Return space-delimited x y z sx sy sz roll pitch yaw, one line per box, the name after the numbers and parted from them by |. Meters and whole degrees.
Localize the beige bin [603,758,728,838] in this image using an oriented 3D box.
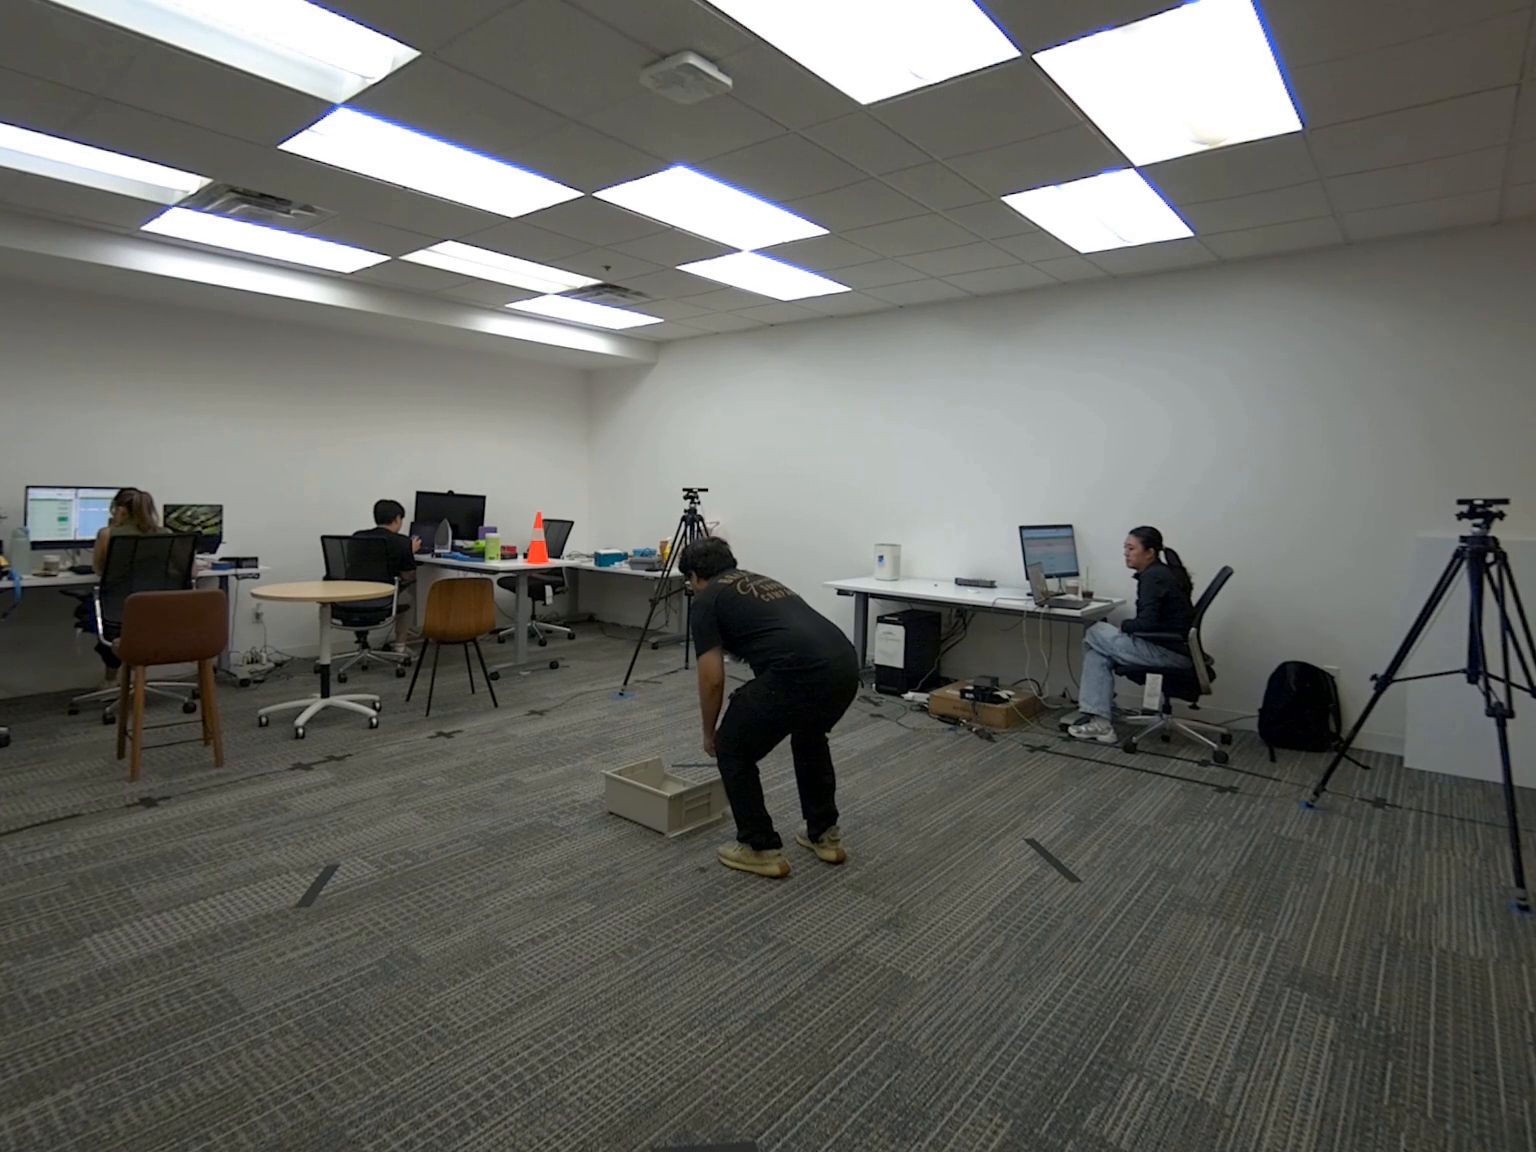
-0.449 0.928 3.646 0.437 0.188 0.366 6 8 40 | beige bin
